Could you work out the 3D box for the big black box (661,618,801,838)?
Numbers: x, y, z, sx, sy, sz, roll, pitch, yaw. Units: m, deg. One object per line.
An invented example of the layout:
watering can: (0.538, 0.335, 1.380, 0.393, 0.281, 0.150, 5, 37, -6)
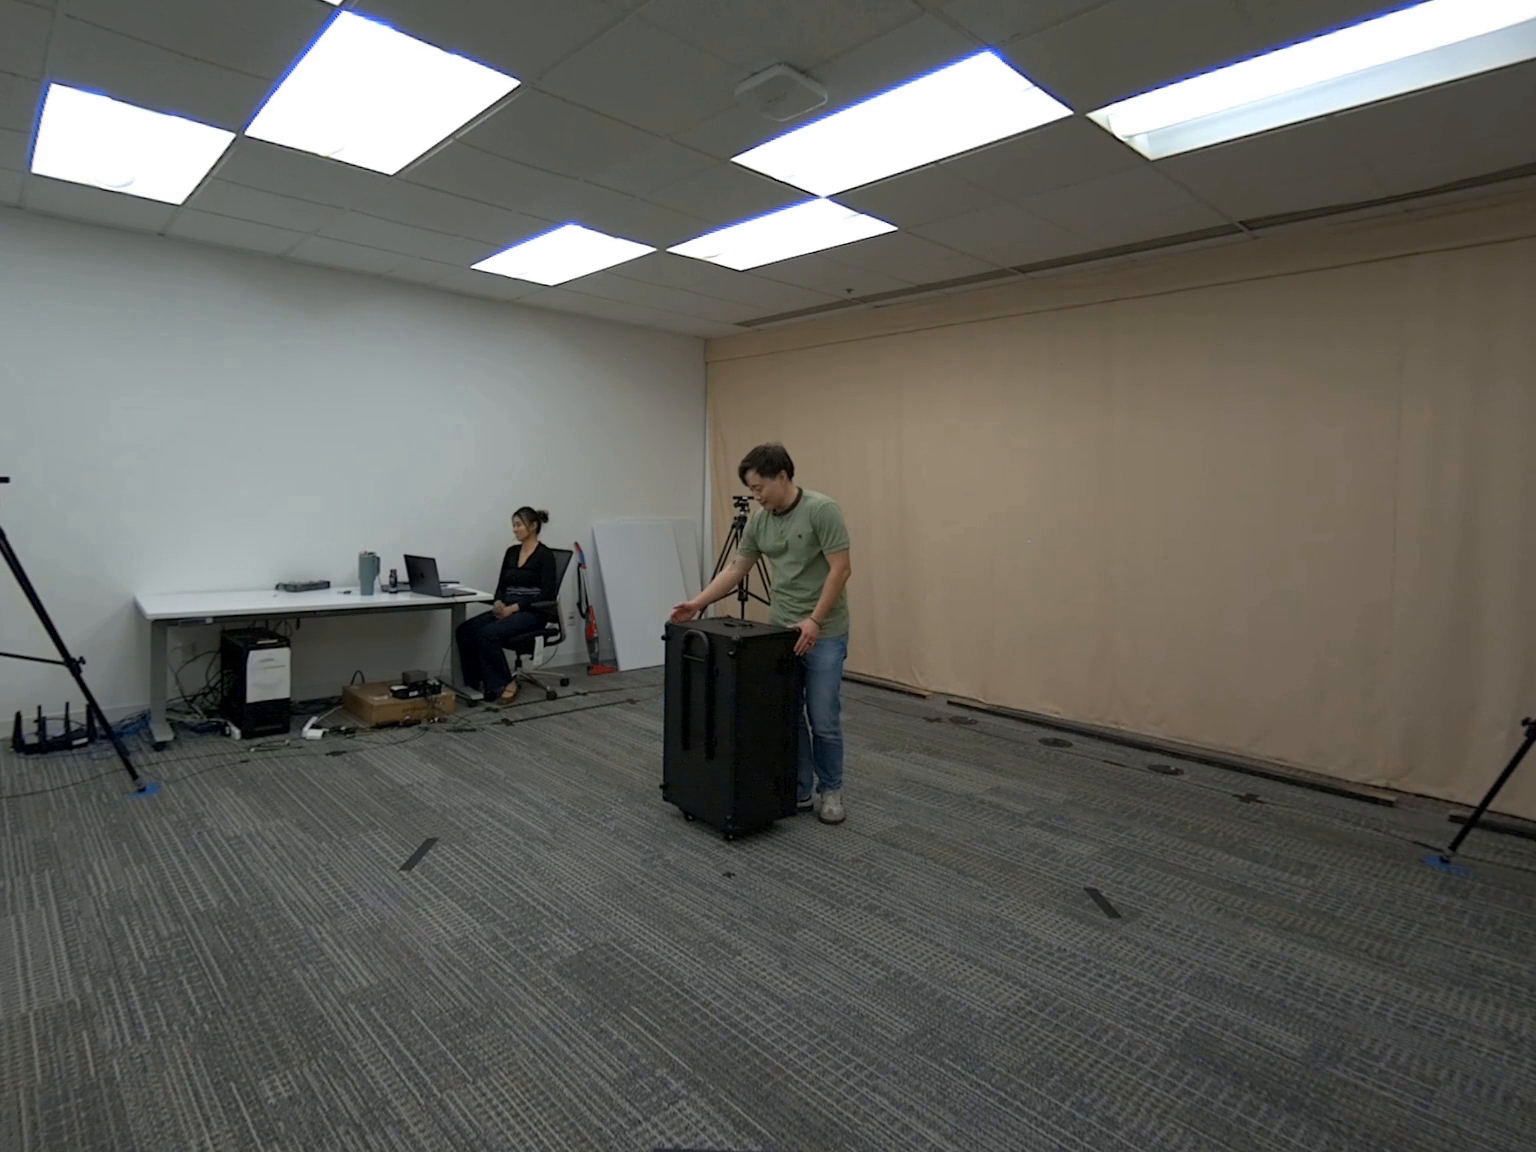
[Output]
big black box: (-0.176, 0.636, 3.566, 0.387, 0.859, 0.534, -2, 5, -41)
